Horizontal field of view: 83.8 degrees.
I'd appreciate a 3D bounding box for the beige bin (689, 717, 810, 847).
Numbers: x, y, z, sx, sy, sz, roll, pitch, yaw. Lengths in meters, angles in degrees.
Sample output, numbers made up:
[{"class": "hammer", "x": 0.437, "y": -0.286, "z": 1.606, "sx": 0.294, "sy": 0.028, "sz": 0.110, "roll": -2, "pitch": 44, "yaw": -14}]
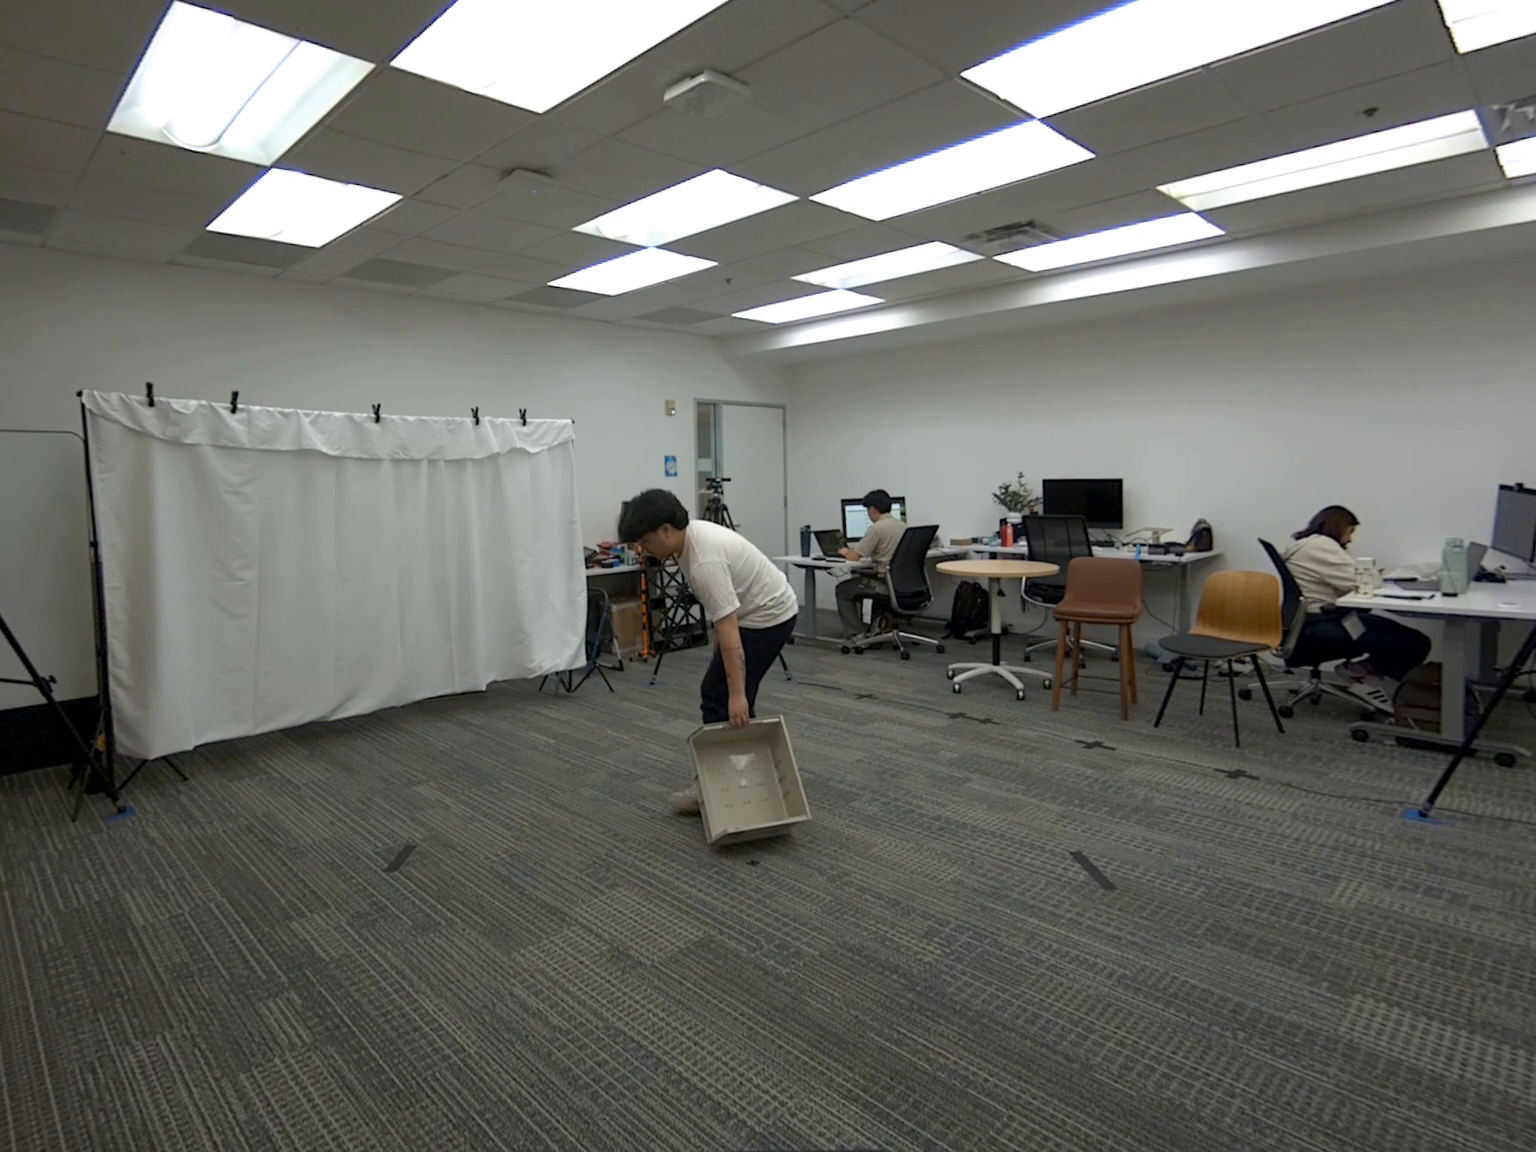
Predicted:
[{"class": "beige bin", "x": -0.089, "y": 0.797, "z": 3.342, "sx": 0.370, "sy": 0.436, "sz": 0.187, "roll": -2, "pitch": -35, "yaw": -22}]
